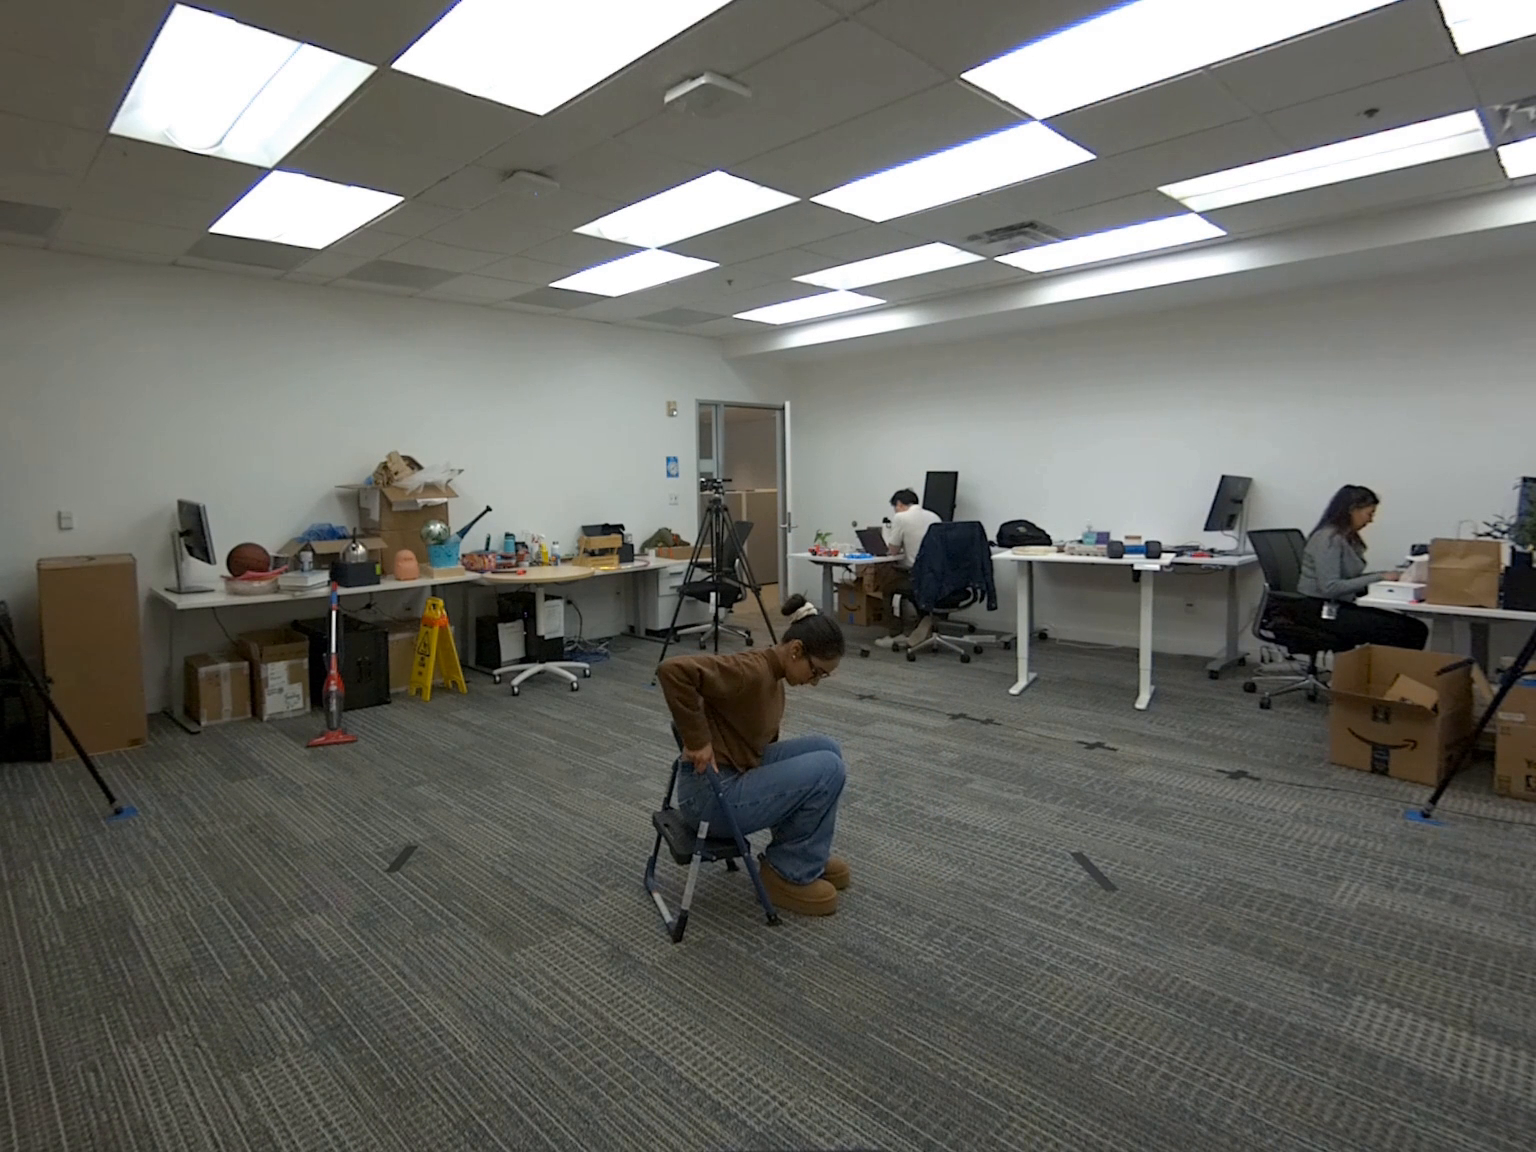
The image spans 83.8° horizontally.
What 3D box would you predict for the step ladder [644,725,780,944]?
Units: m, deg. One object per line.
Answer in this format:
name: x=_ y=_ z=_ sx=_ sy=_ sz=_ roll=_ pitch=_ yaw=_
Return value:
step ladder: x=-0.198 y=0.784 z=2.805 sx=0.343 sy=0.604 sz=0.440 roll=-2 pitch=5 yaw=-21
